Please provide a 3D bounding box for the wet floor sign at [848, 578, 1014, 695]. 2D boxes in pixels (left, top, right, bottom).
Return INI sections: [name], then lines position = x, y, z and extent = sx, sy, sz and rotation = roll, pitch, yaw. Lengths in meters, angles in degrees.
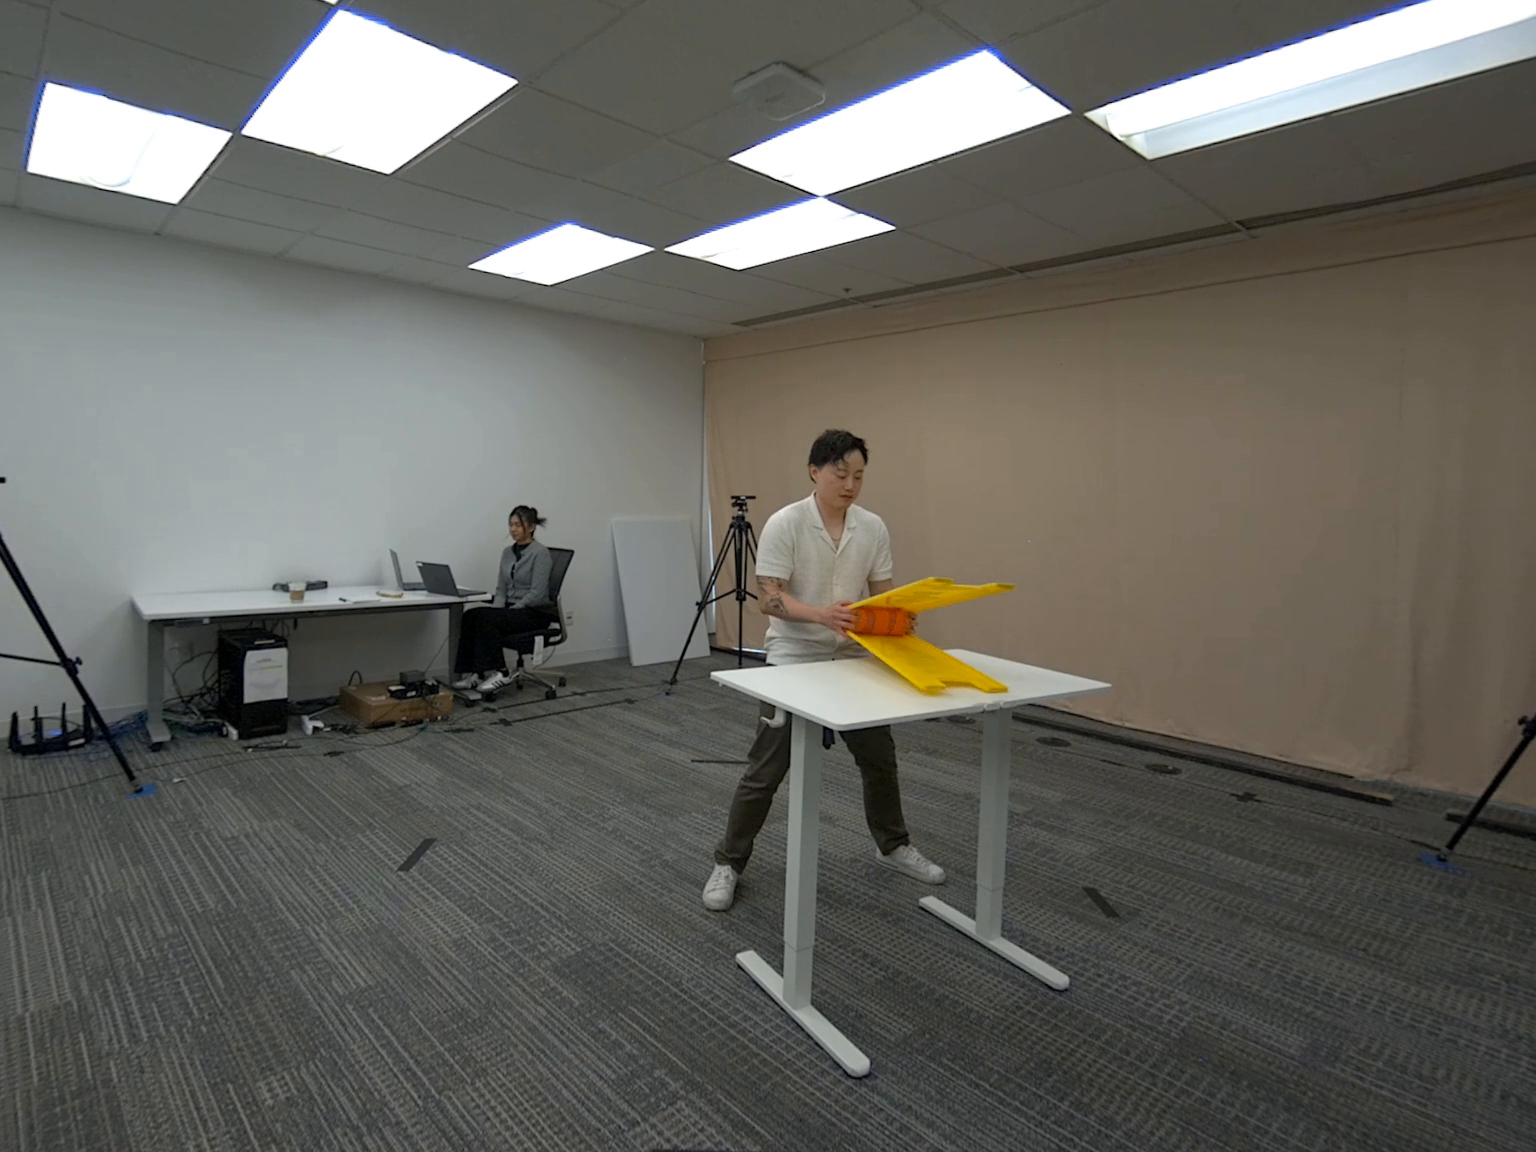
[wet floor sign]
position = 0.397, 0.149, 2.551
extent = 0.277, 0.290, 0.657
rotation = 5, 1, -23
